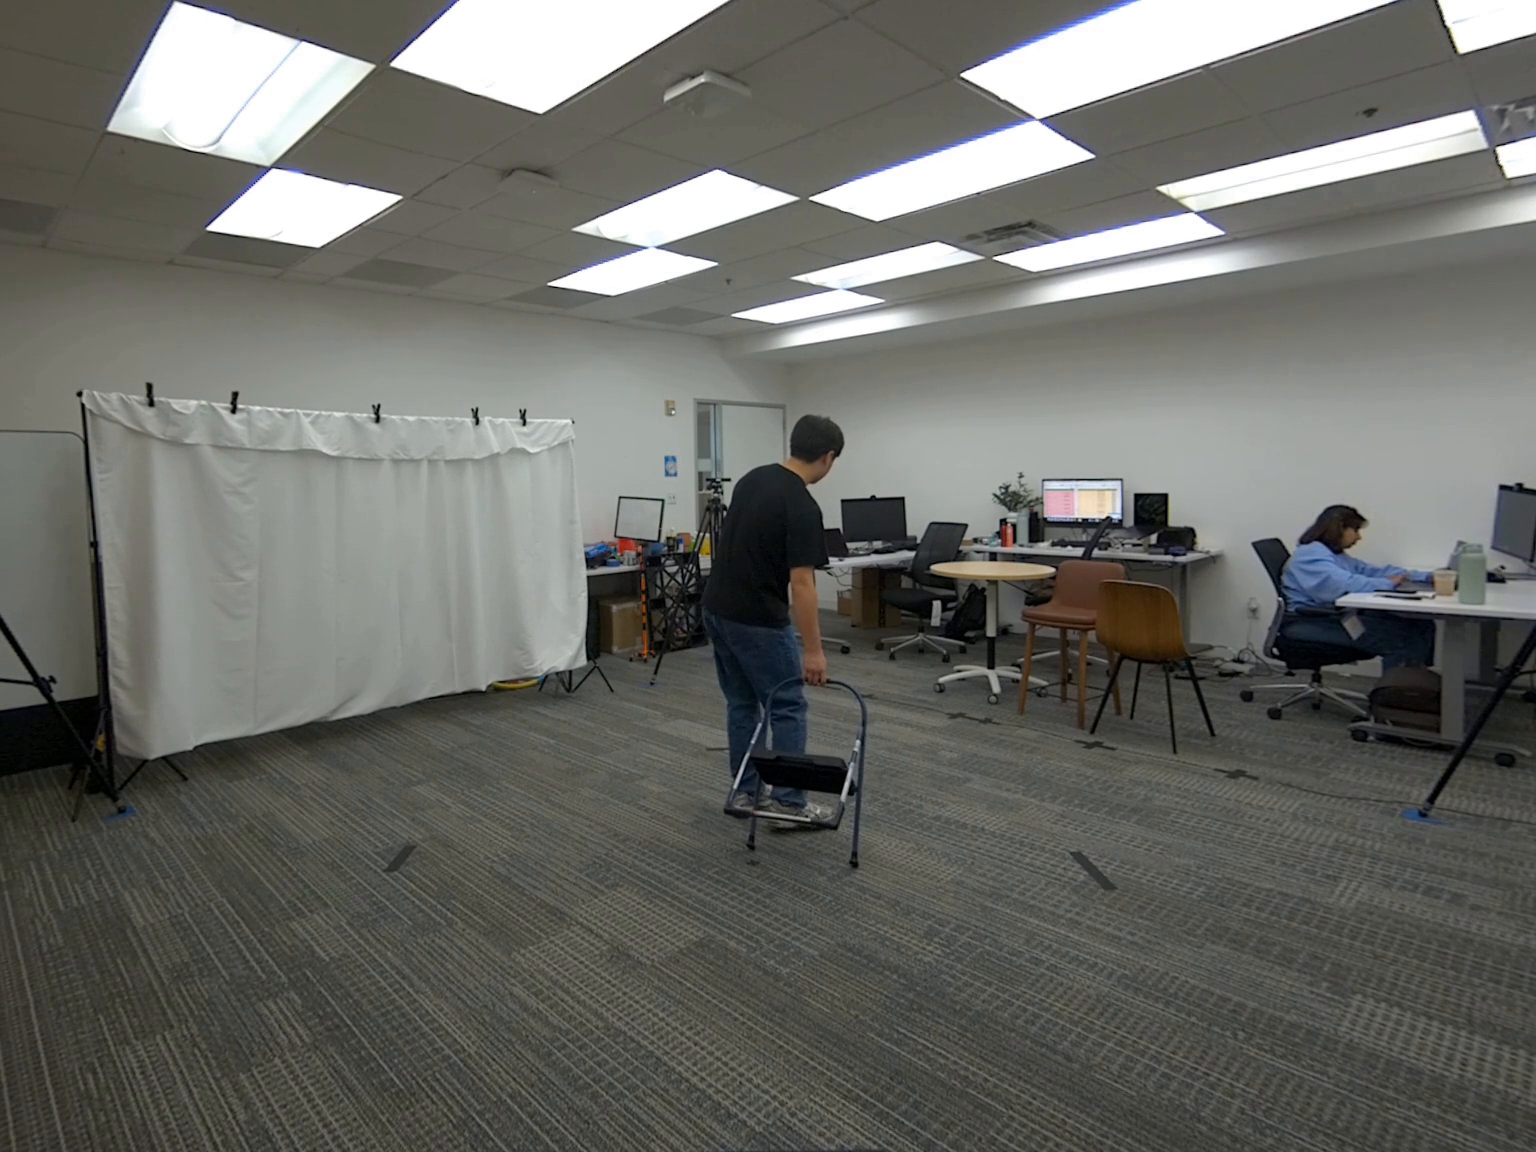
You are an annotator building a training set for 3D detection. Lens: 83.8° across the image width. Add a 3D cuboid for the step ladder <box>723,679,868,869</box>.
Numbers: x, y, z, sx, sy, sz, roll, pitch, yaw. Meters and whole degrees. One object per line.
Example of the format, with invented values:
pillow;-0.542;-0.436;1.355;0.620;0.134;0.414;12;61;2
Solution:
step ladder;0.147;0.687;3.190;0.440;0.616;0.336;0;-37;22
